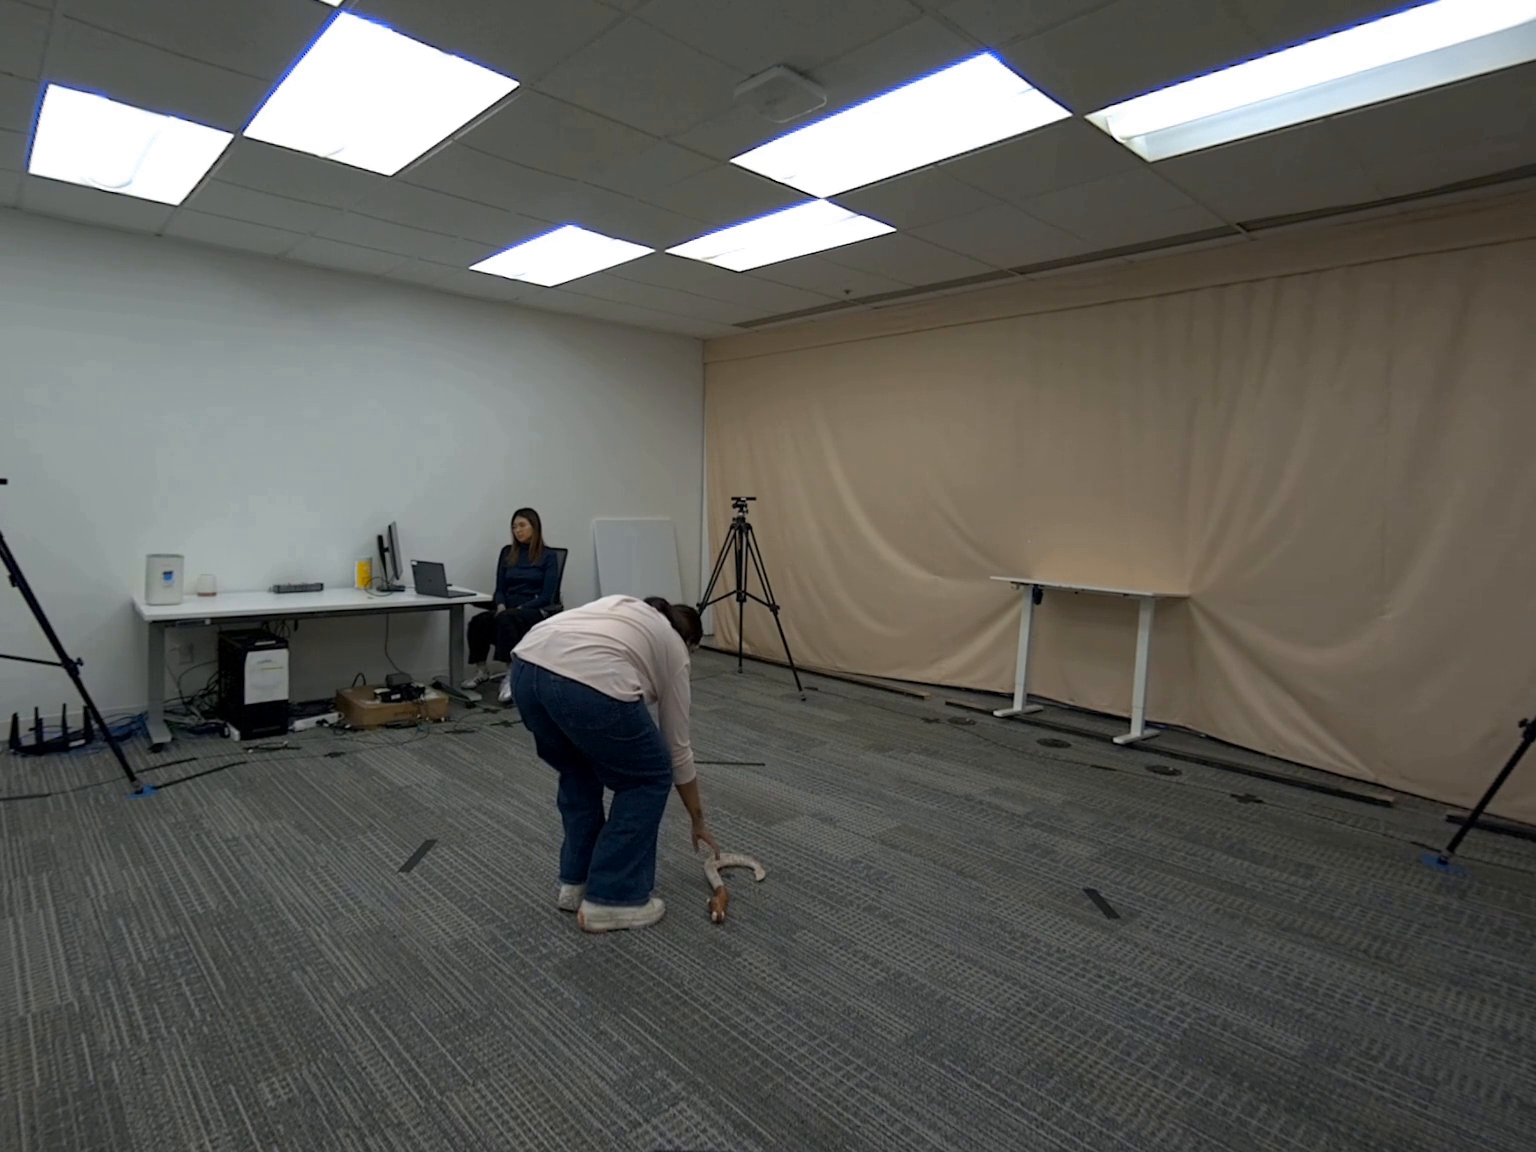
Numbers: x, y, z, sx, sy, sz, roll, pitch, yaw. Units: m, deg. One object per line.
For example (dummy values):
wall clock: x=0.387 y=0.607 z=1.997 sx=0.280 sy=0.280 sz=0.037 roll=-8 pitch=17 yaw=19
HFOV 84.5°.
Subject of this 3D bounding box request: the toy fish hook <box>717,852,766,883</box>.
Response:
toy fish hook: x=-0.124 y=1.099 z=2.979 sx=0.224 sy=0.048 sz=0.508 roll=0 pitch=6 yaw=-1
